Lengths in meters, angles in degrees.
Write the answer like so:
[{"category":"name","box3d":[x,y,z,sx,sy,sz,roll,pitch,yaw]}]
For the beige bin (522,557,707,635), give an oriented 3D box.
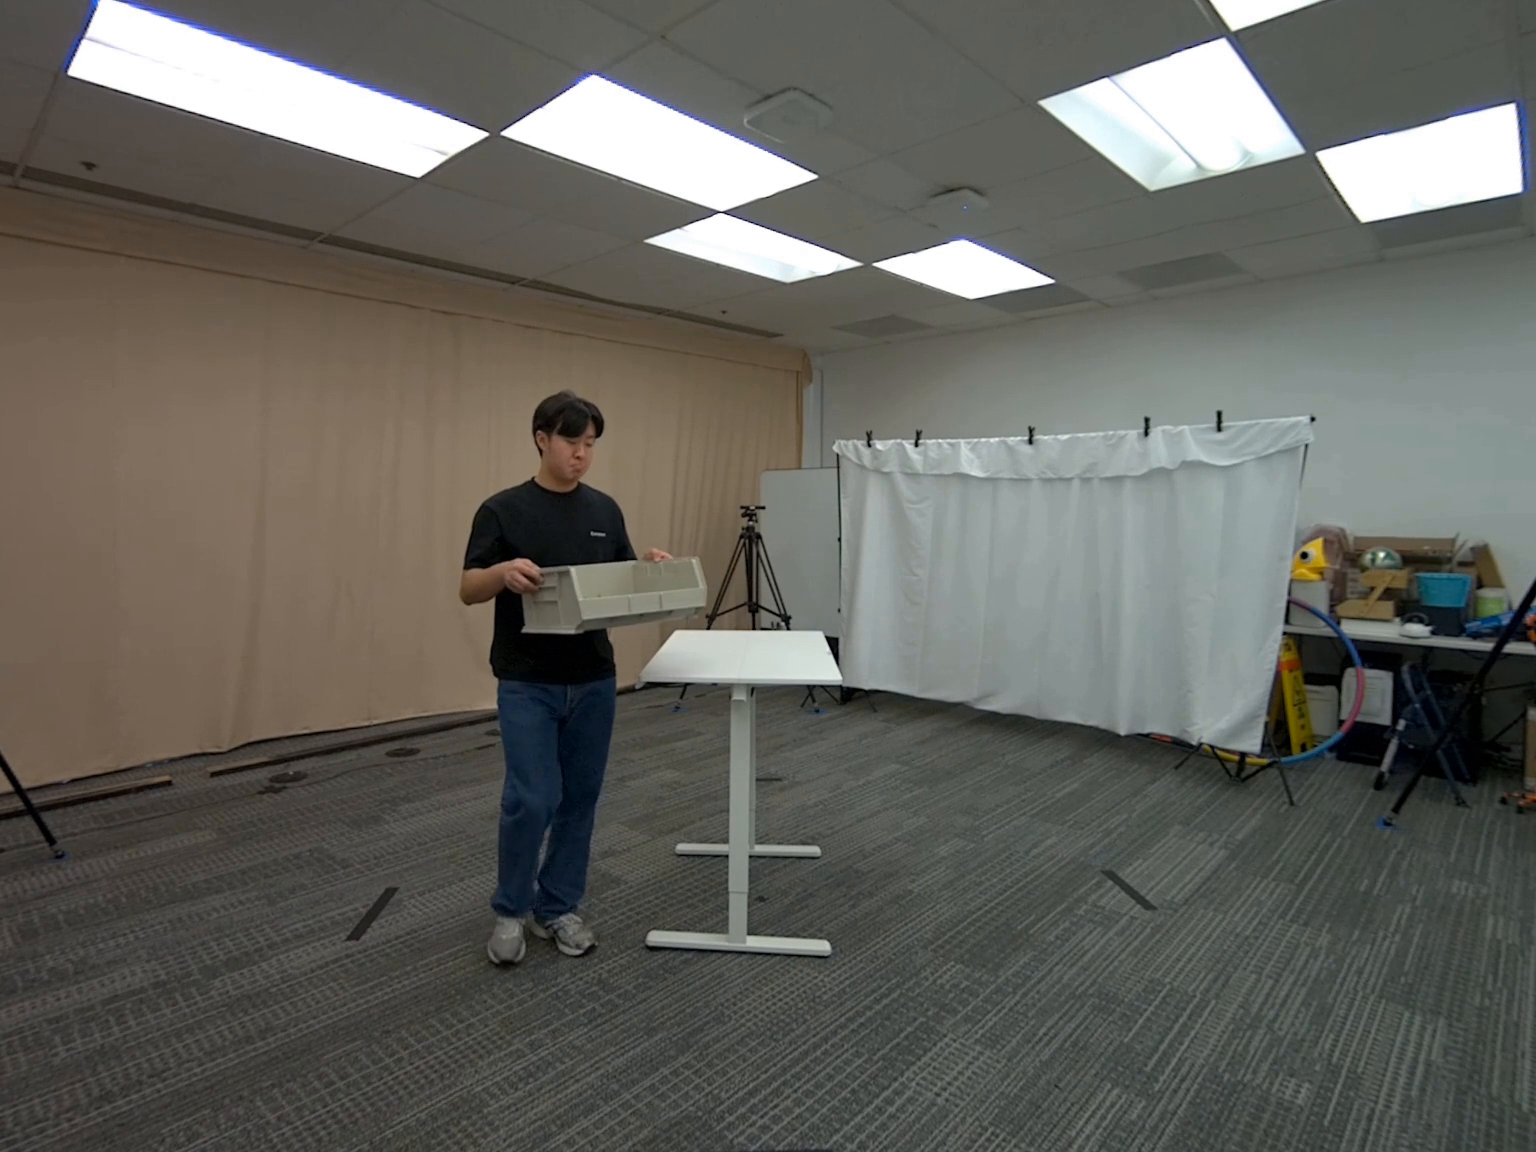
[{"category":"beige bin","box3d":[-0.450,0.057,2.437,0.410,0.189,0.388,-5,0,-40]}]
